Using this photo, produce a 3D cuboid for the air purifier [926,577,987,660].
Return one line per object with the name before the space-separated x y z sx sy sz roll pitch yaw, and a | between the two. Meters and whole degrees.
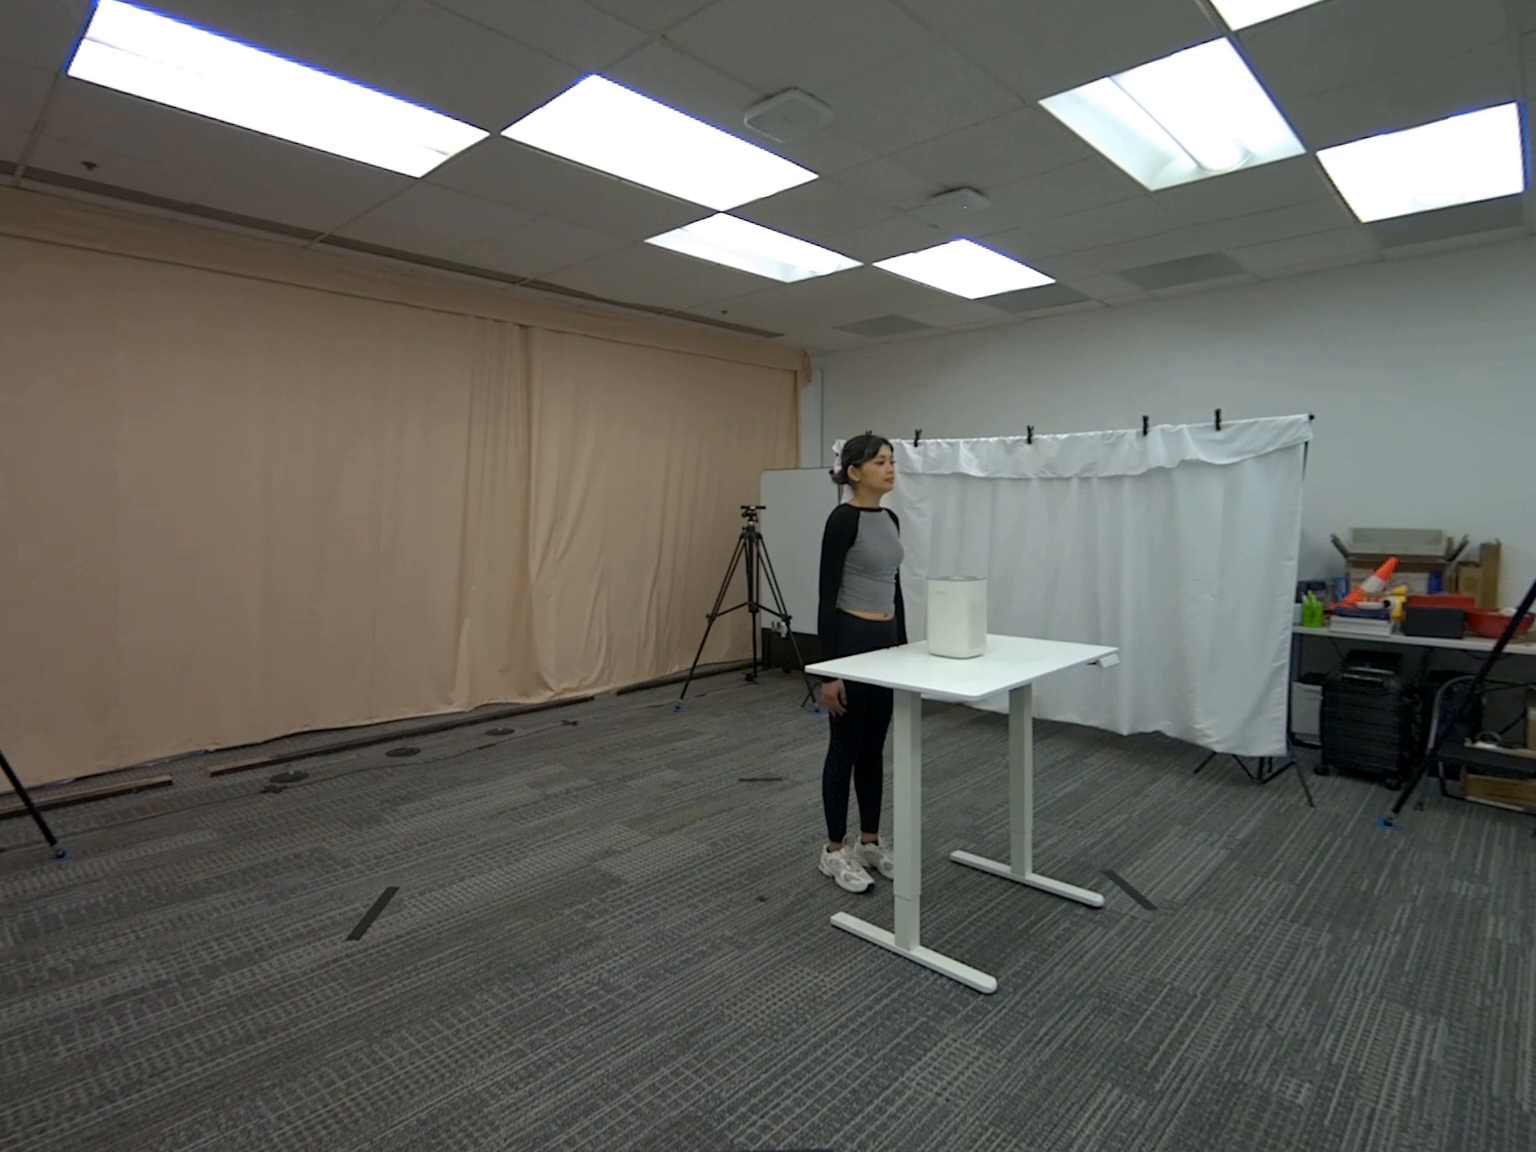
air purifier | 0.640 0.134 2.868 0.166 0.265 0.177 -5 5 -43
